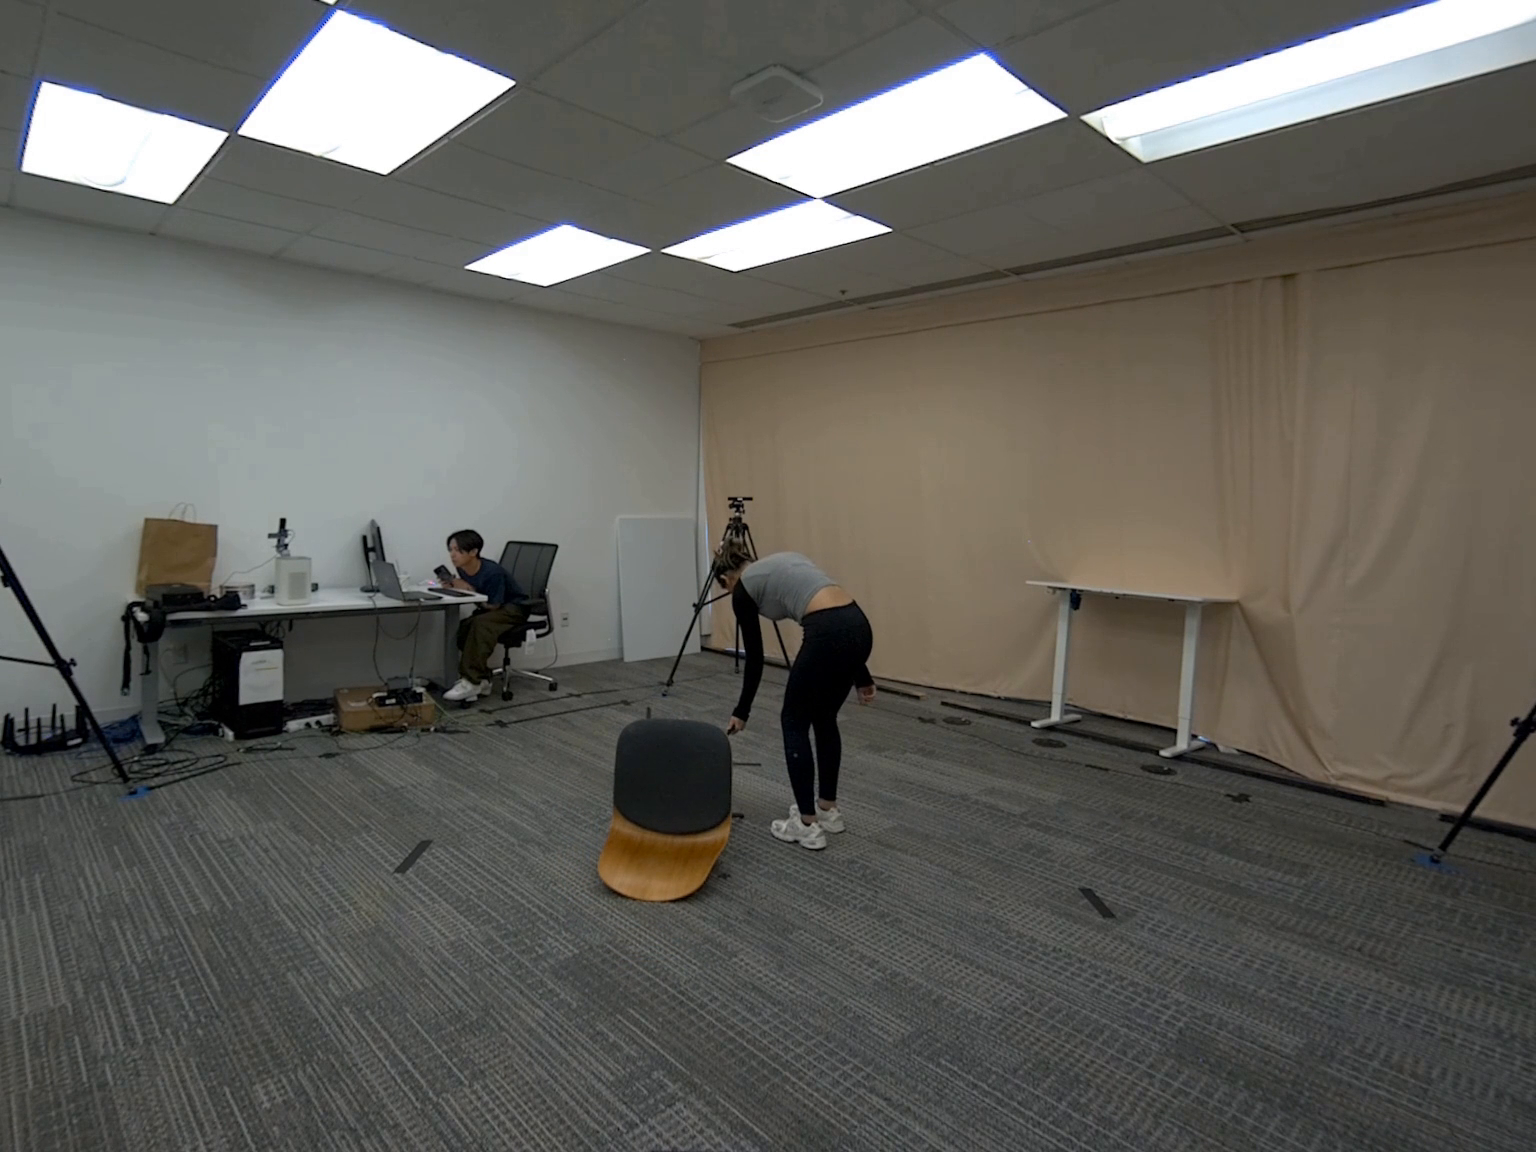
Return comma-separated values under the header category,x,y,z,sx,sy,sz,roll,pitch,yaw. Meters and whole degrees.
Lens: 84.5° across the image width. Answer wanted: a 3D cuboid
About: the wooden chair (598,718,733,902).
category,x,y,z,sx,sy,sz,roll,pitch,yaw
wooden chair,-0.380,0.824,3.307,0.481,0.521,0.874,2,5,7
